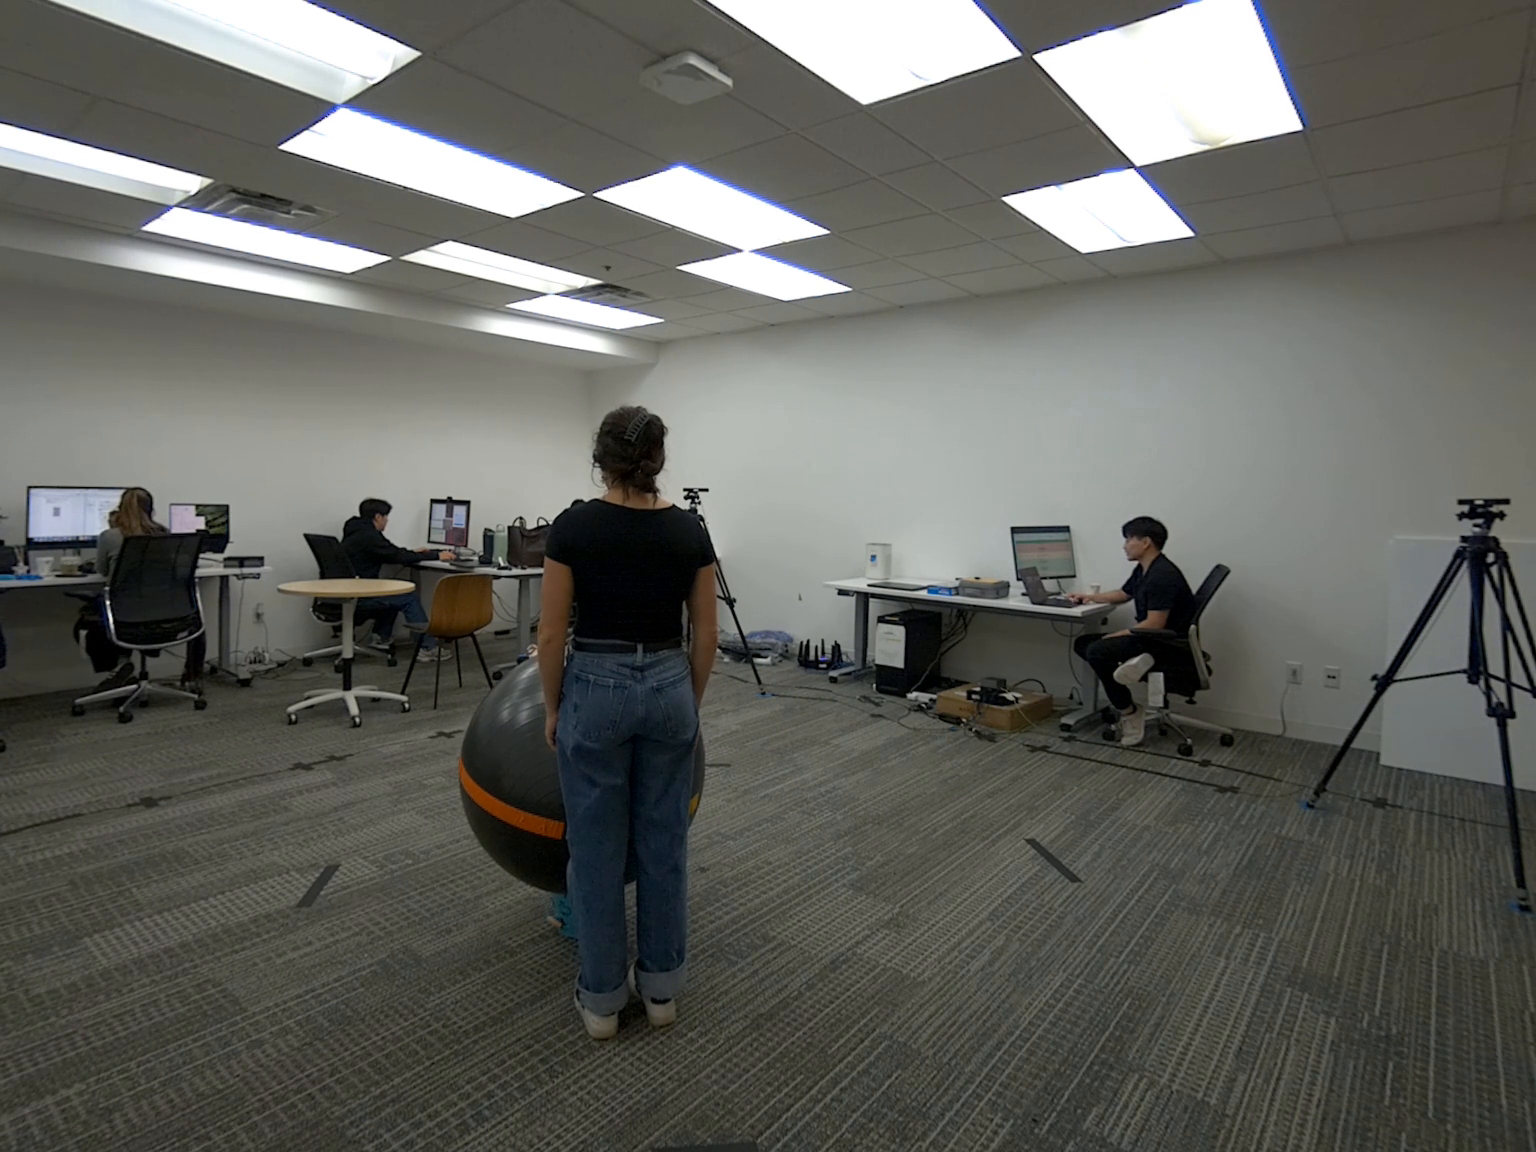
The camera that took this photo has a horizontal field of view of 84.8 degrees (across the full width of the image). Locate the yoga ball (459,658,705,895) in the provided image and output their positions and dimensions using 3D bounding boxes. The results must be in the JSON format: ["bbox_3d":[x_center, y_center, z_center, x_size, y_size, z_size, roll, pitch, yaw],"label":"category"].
[{"bbox_3d":[-0.591,0.596,2.681,0.757,0.756,0.762,1,4,-2],"label":"yoga ball"}]
